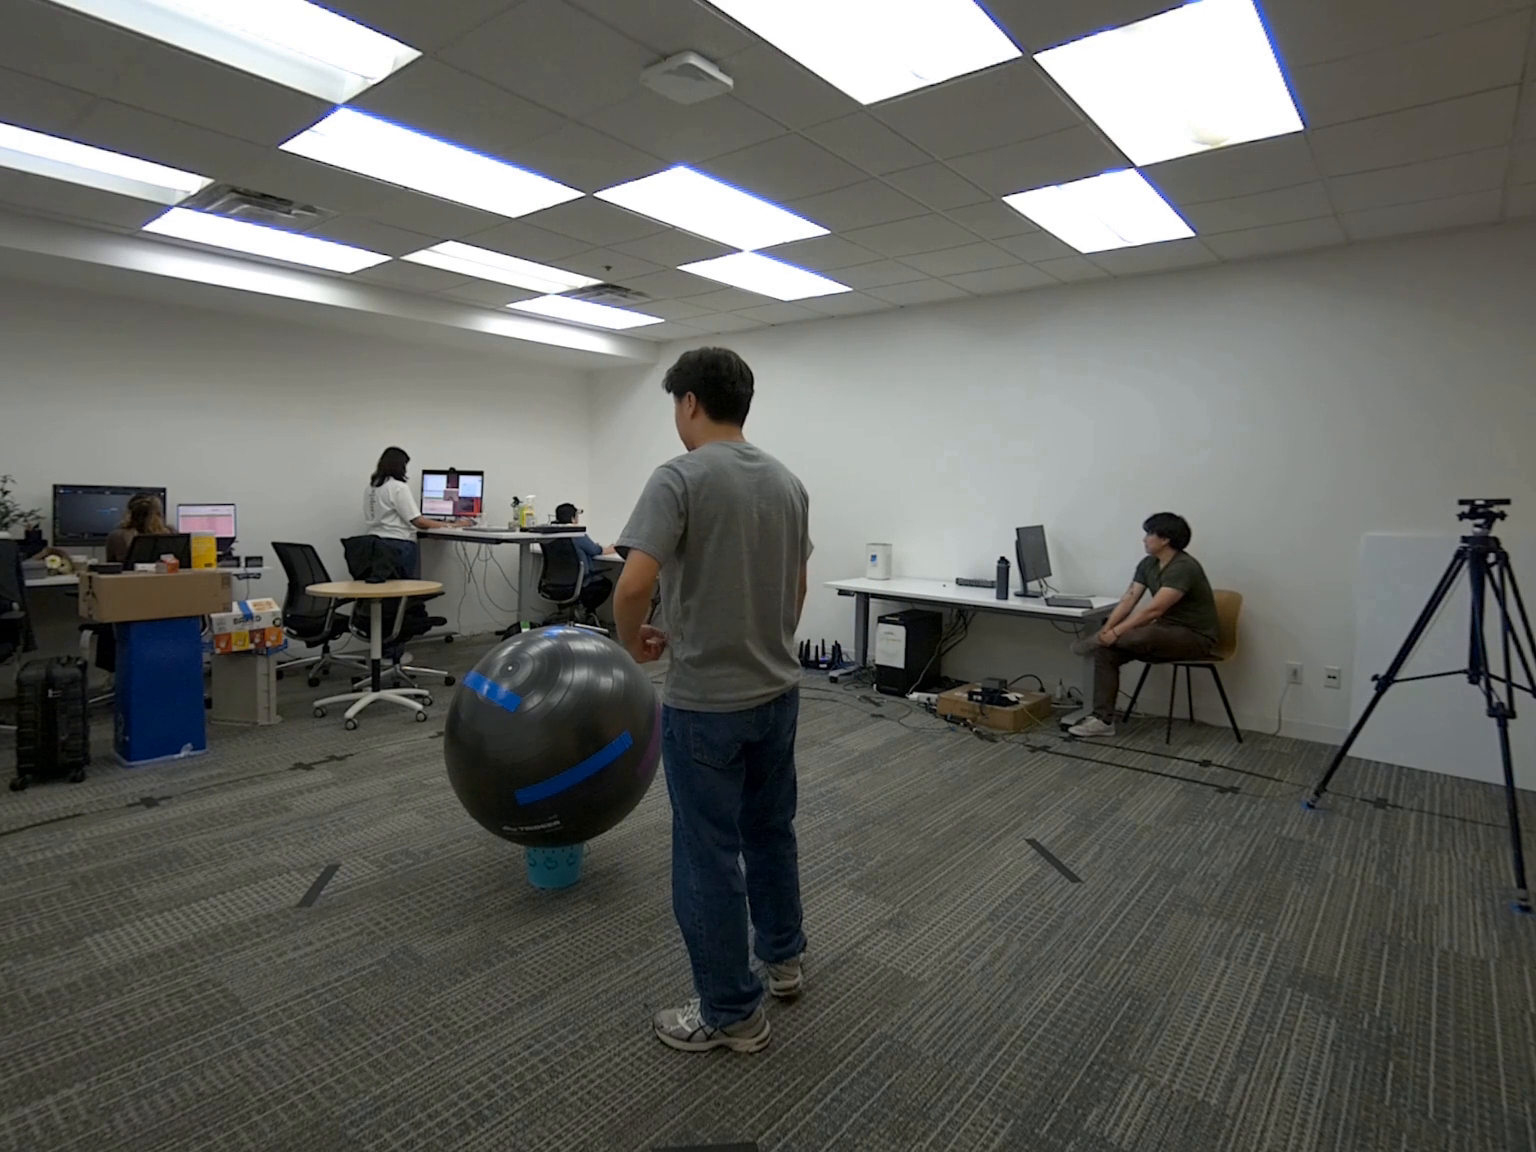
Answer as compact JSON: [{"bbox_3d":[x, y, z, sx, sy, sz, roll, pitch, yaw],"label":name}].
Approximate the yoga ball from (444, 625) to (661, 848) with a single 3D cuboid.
[{"bbox_3d":[-0.766,0.563,3.006,0.757,0.755,0.762,1,4,-2],"label":"yoga ball"}]
